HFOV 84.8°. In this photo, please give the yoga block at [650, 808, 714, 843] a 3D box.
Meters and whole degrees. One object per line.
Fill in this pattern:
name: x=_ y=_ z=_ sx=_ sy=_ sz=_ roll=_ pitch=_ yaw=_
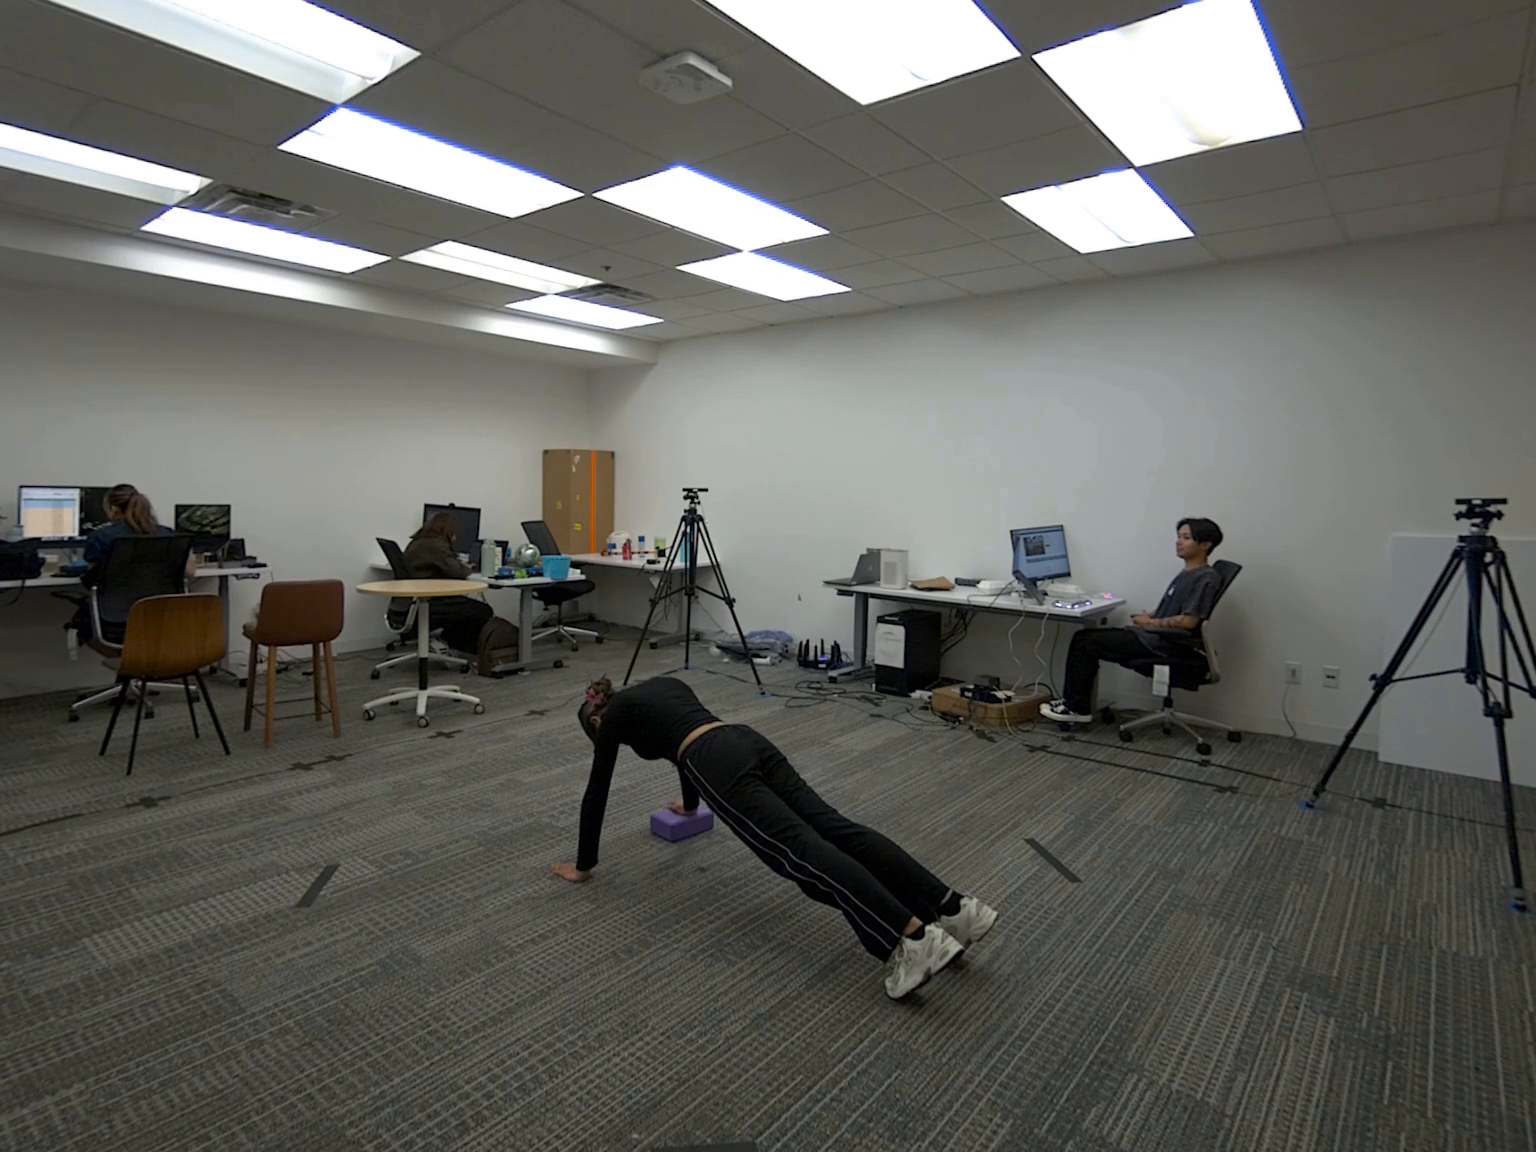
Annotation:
yoga block: x=-0.360 y=0.998 z=3.459 sx=0.222 sy=0.076 sz=0.154 roll=-1 pitch=5 yaw=-43
